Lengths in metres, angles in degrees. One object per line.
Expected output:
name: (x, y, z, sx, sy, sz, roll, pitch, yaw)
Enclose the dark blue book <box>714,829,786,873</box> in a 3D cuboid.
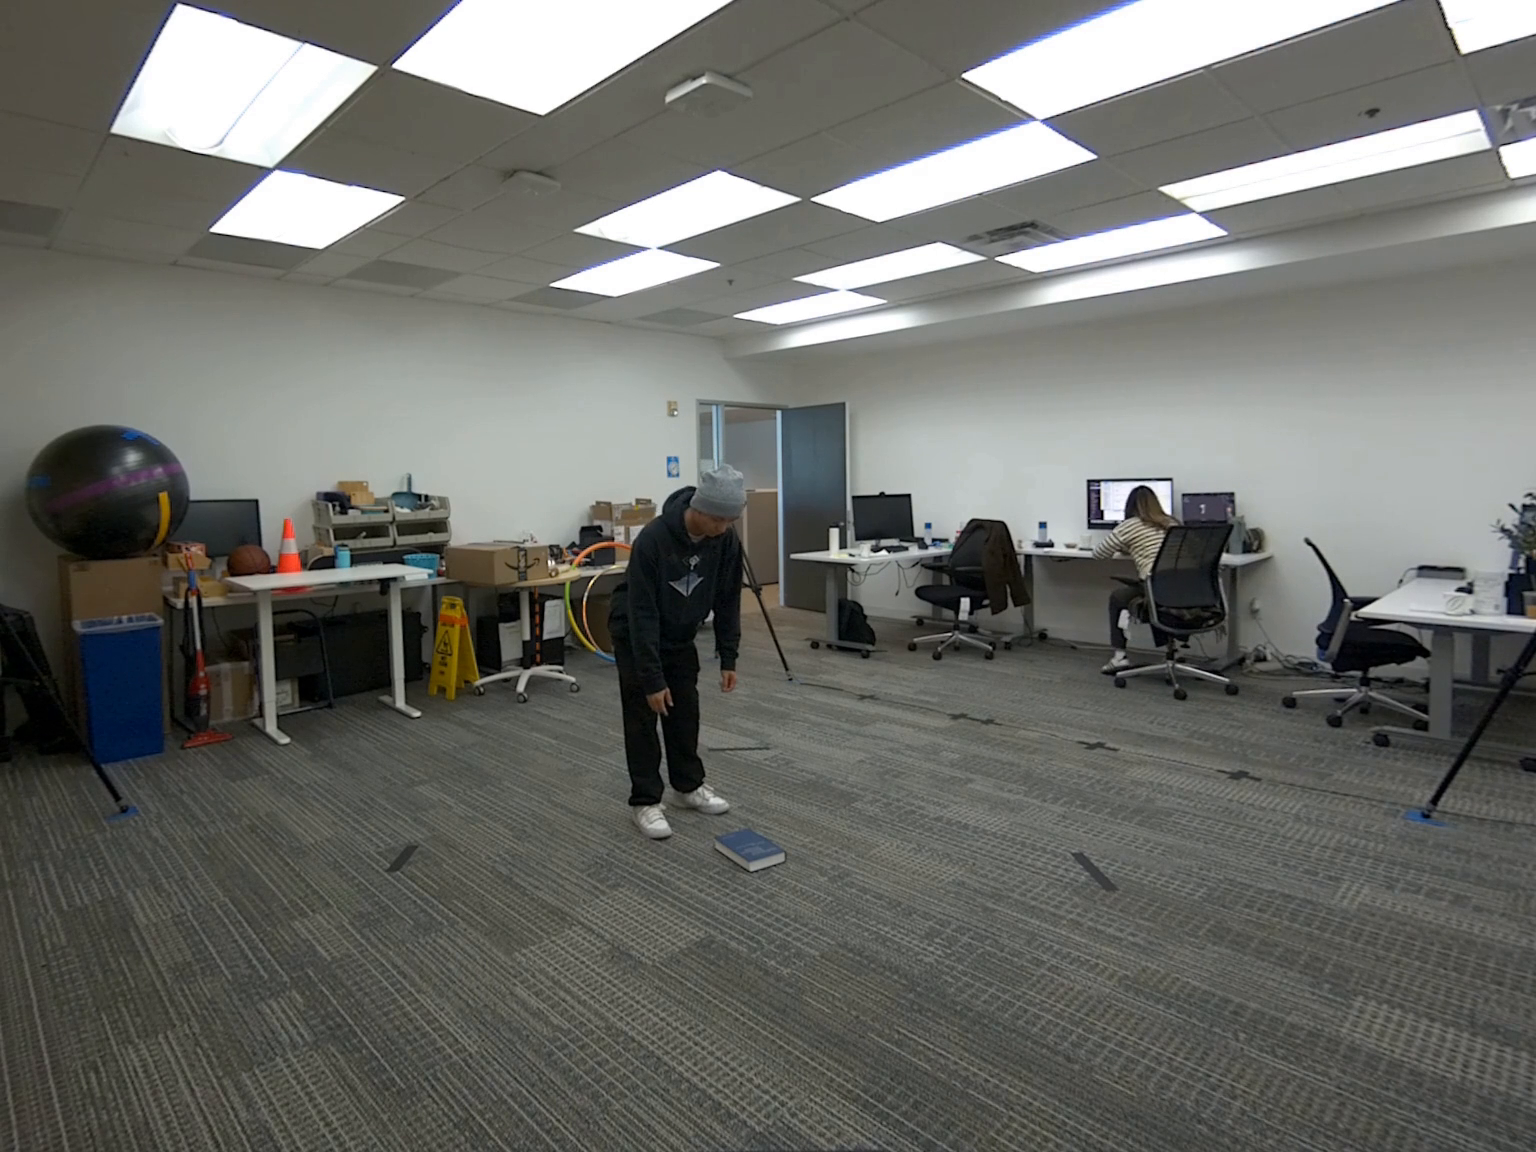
dark blue book: (-0.067, 1.012, 3.170, 0.159, 0.045, 0.252, -6, 8, -34)
